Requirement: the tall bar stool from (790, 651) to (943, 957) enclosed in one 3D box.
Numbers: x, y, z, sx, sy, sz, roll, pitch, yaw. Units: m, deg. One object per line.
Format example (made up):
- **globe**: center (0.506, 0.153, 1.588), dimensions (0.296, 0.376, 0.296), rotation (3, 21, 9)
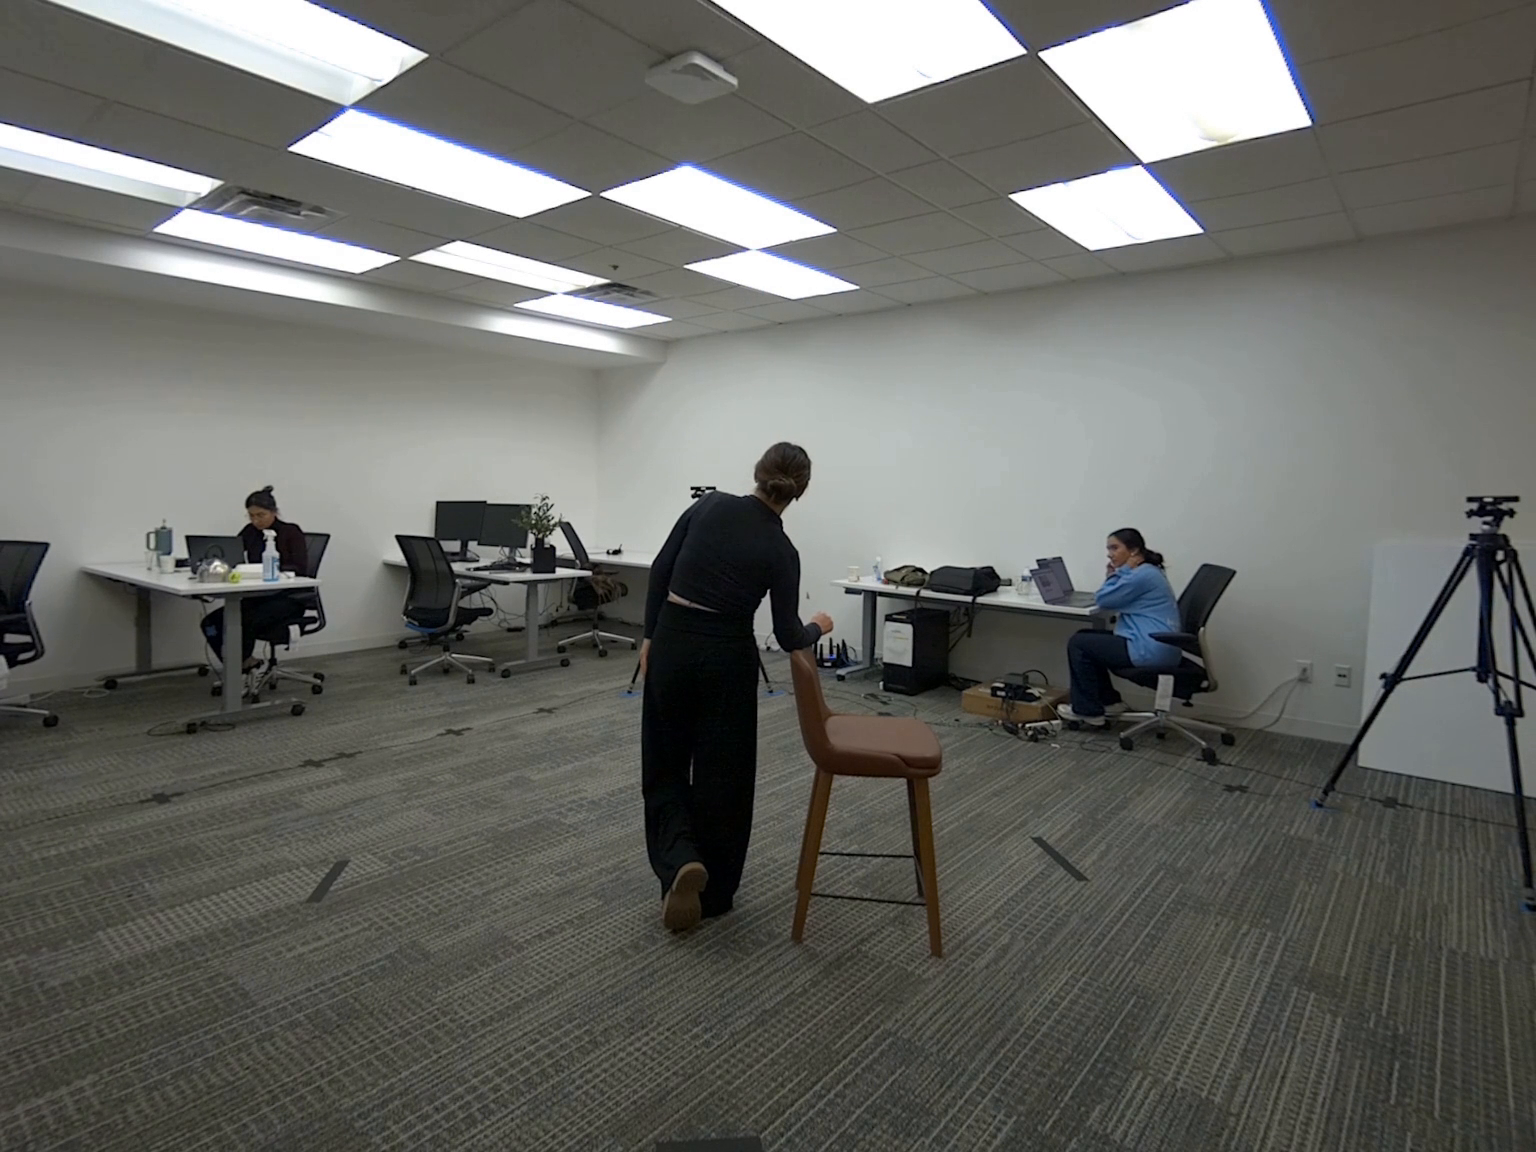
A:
- **tall bar stool**: center (0.312, 0.679, 2.742), dimensions (0.471, 0.887, 0.454), rotation (0, 3, 6)
